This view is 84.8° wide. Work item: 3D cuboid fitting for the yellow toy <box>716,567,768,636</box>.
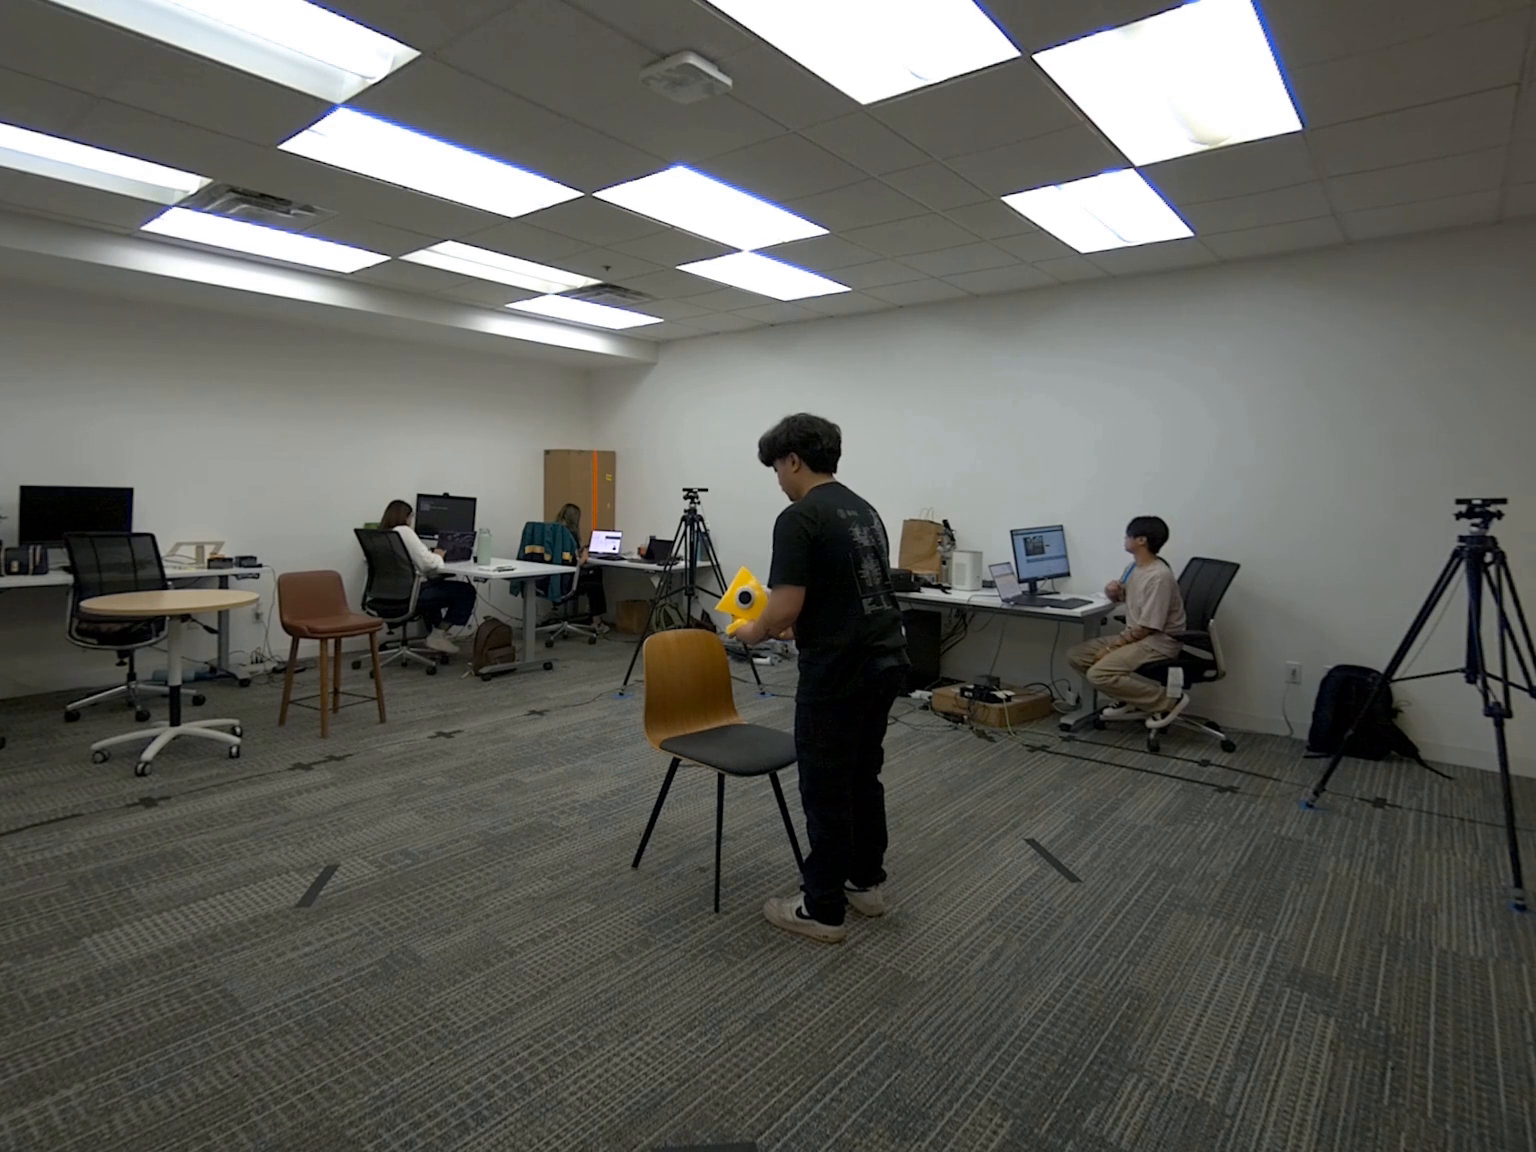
[{"bbox_3d":[-0.061,0.085,2.965,0.199,0.231,0.198,3,1,40],"label":"yellow toy"}]
